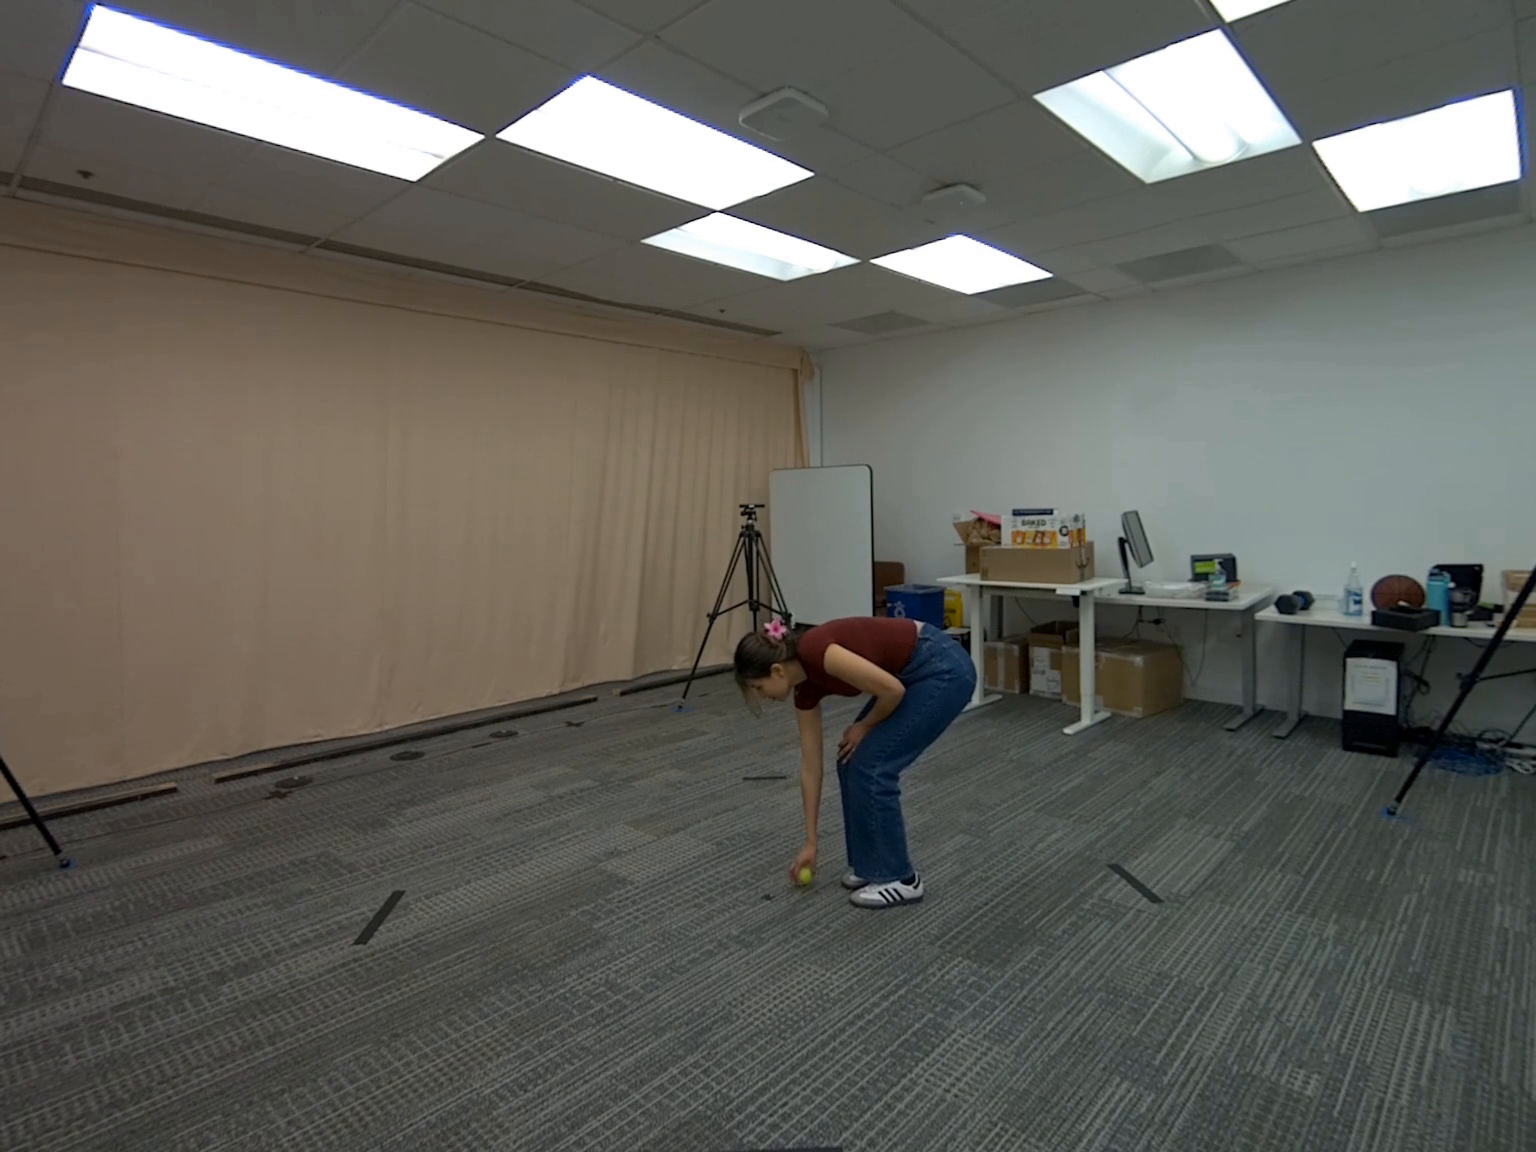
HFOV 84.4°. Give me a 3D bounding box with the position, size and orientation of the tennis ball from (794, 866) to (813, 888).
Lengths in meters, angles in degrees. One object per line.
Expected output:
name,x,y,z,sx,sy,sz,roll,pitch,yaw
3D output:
tennis ball,0.129,1.074,3.046,0.066,0.066,0.067,-1,4,-2
